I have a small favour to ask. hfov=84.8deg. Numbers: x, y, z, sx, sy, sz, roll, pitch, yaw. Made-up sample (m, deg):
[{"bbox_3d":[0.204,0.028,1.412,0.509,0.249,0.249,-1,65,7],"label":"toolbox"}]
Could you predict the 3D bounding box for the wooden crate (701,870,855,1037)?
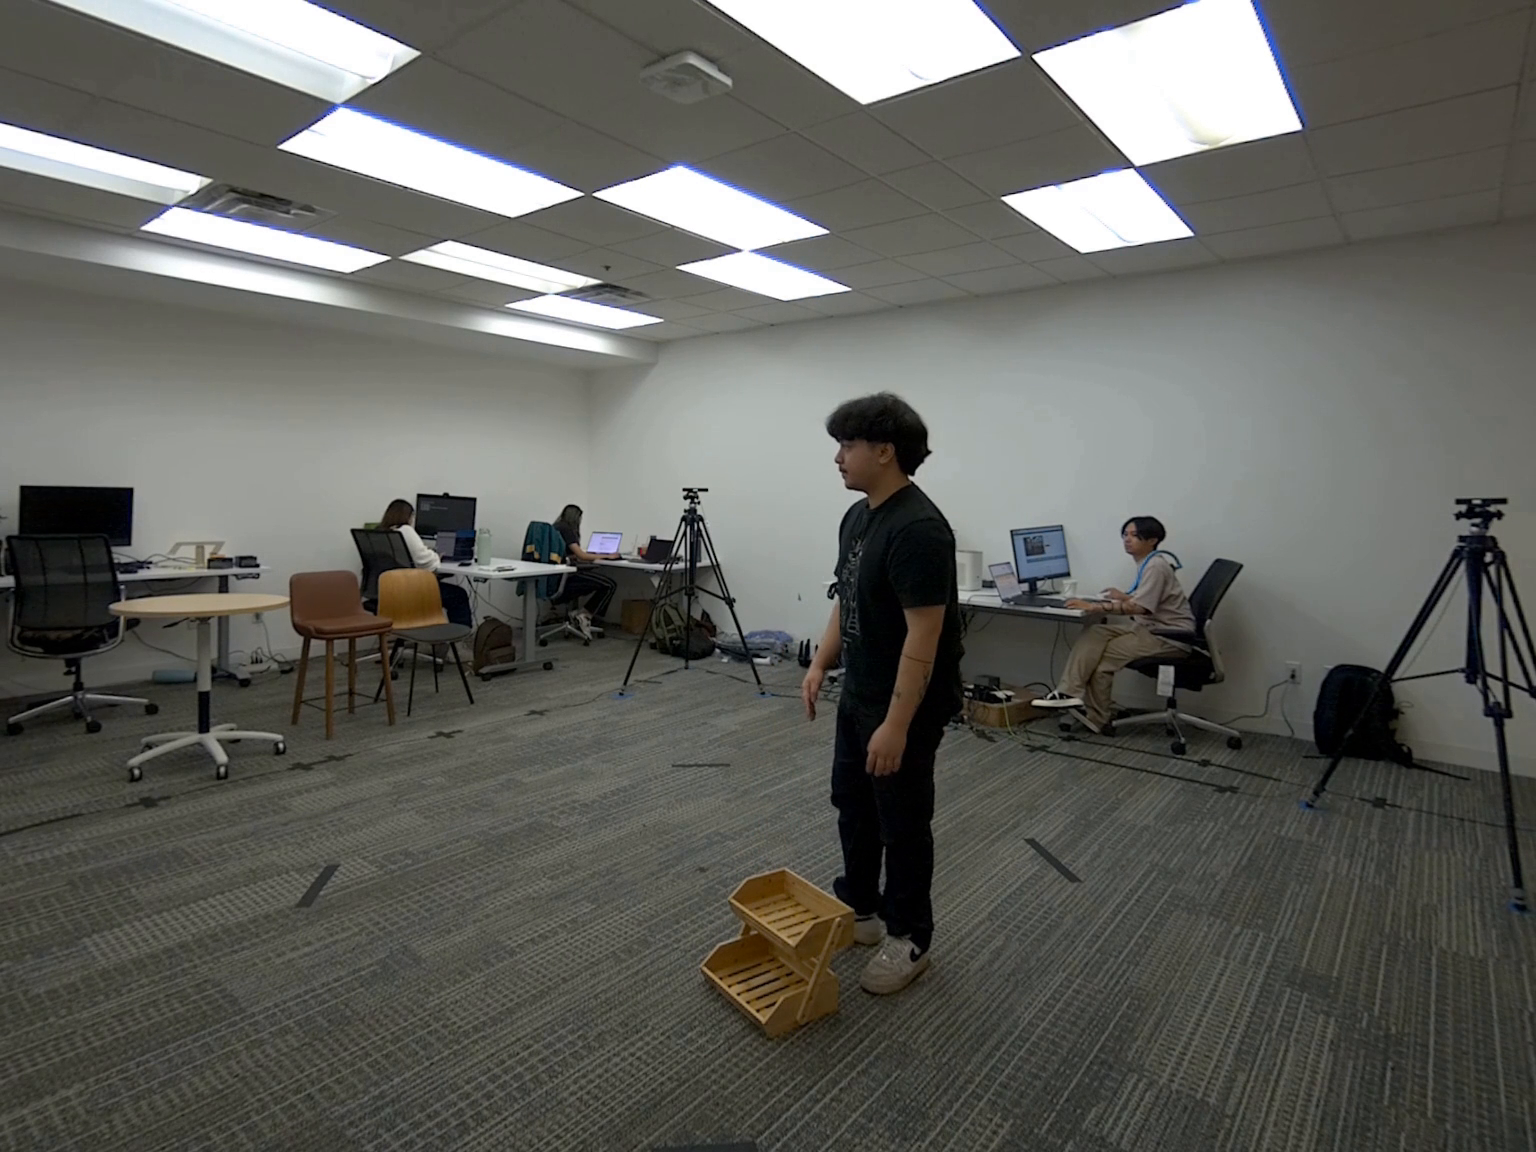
[{"bbox_3d":[0.016,1.021,2.346,0.293,0.272,0.335,-1,5,-36],"label":"wooden crate"}]
